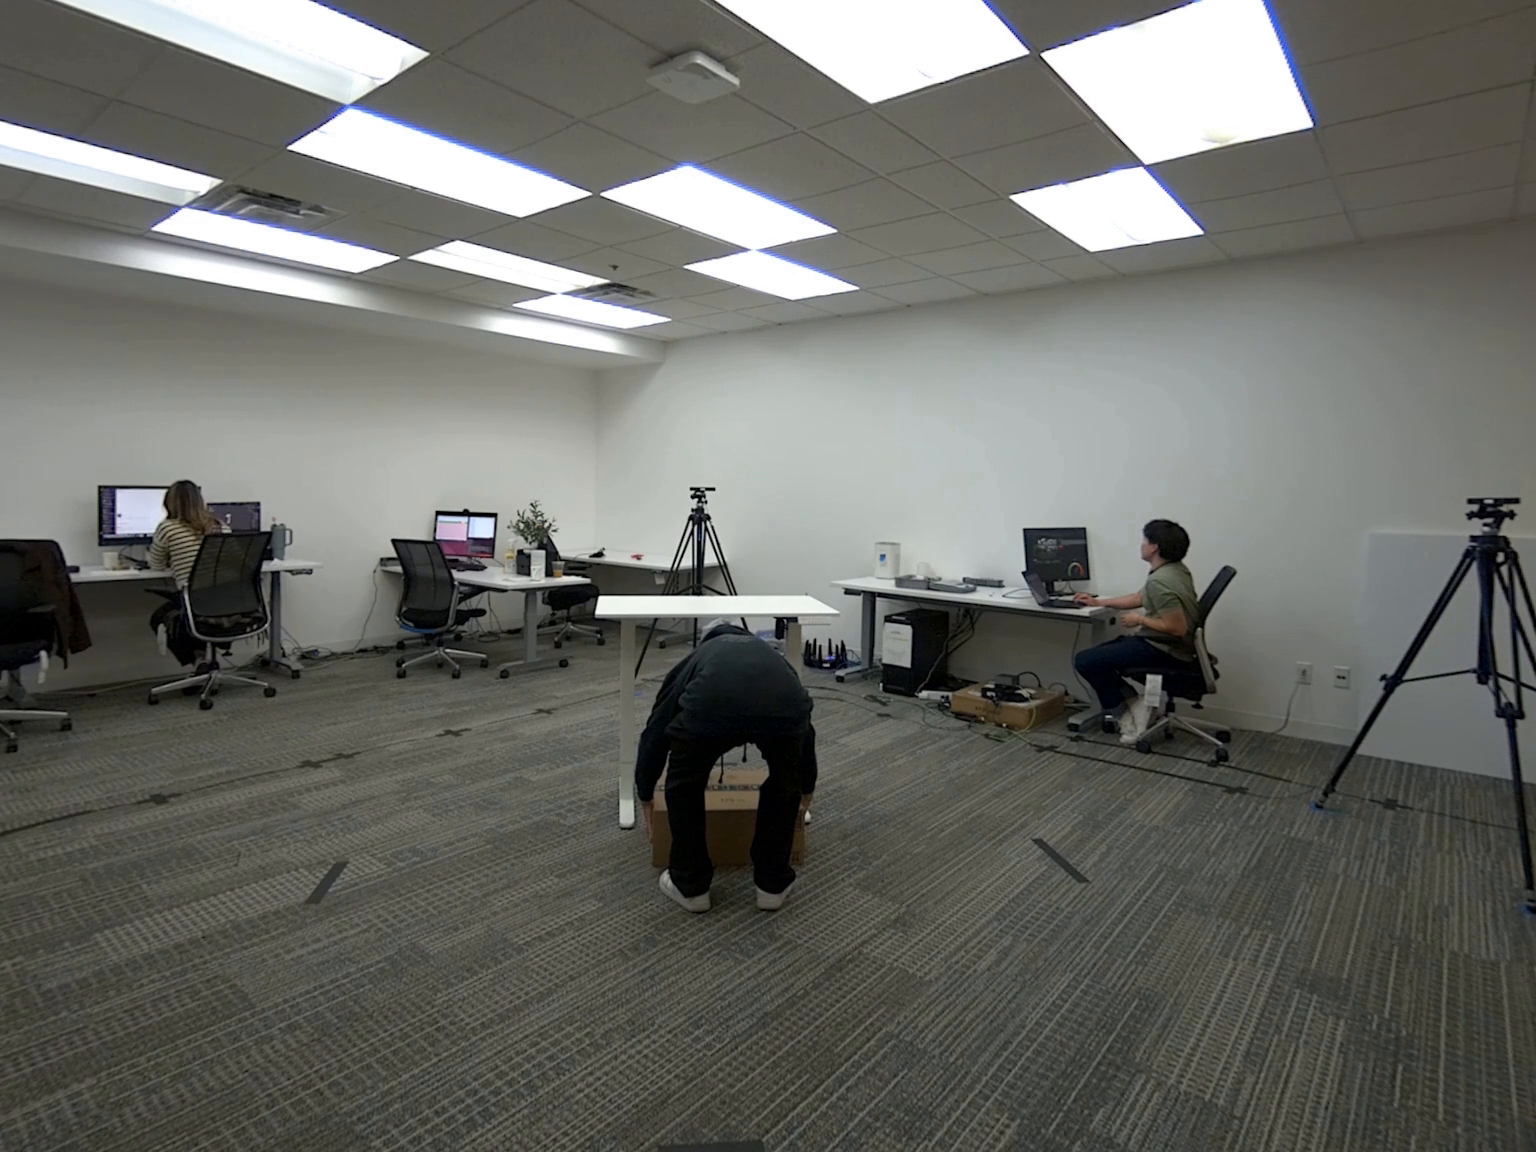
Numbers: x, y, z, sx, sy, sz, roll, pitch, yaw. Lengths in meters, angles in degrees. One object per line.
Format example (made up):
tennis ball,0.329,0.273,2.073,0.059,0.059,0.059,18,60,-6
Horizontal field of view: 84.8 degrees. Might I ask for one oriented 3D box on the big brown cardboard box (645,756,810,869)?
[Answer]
big brown cardboard box,-0.183,0.933,3.332,0.585,0.232,0.422,1,6,-6
